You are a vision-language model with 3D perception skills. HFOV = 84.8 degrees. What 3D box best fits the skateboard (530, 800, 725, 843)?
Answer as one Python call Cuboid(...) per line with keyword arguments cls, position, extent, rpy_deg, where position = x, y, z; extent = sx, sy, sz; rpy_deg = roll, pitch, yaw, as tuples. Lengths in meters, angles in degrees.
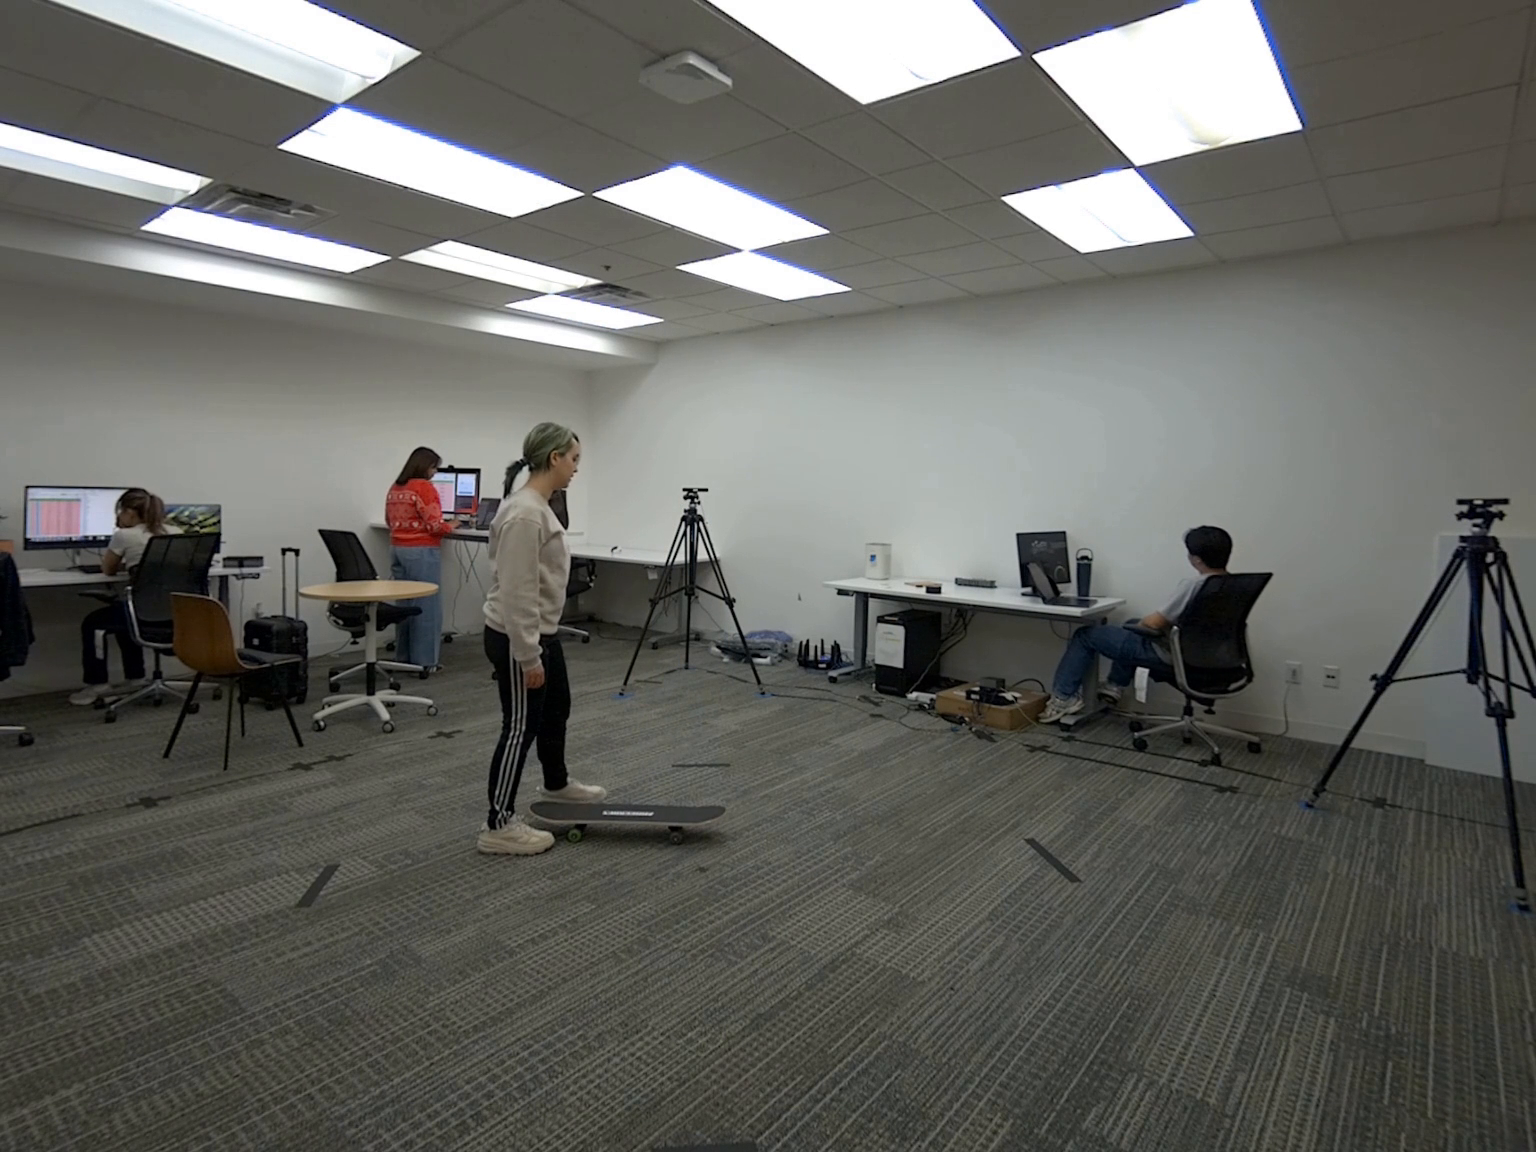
Cuboid(cls="skateboard", position=(-0.571, 0.977, 3.406), extent=(0.785, 0.110, 0.194), rpy_deg=(1, 4, 0))
